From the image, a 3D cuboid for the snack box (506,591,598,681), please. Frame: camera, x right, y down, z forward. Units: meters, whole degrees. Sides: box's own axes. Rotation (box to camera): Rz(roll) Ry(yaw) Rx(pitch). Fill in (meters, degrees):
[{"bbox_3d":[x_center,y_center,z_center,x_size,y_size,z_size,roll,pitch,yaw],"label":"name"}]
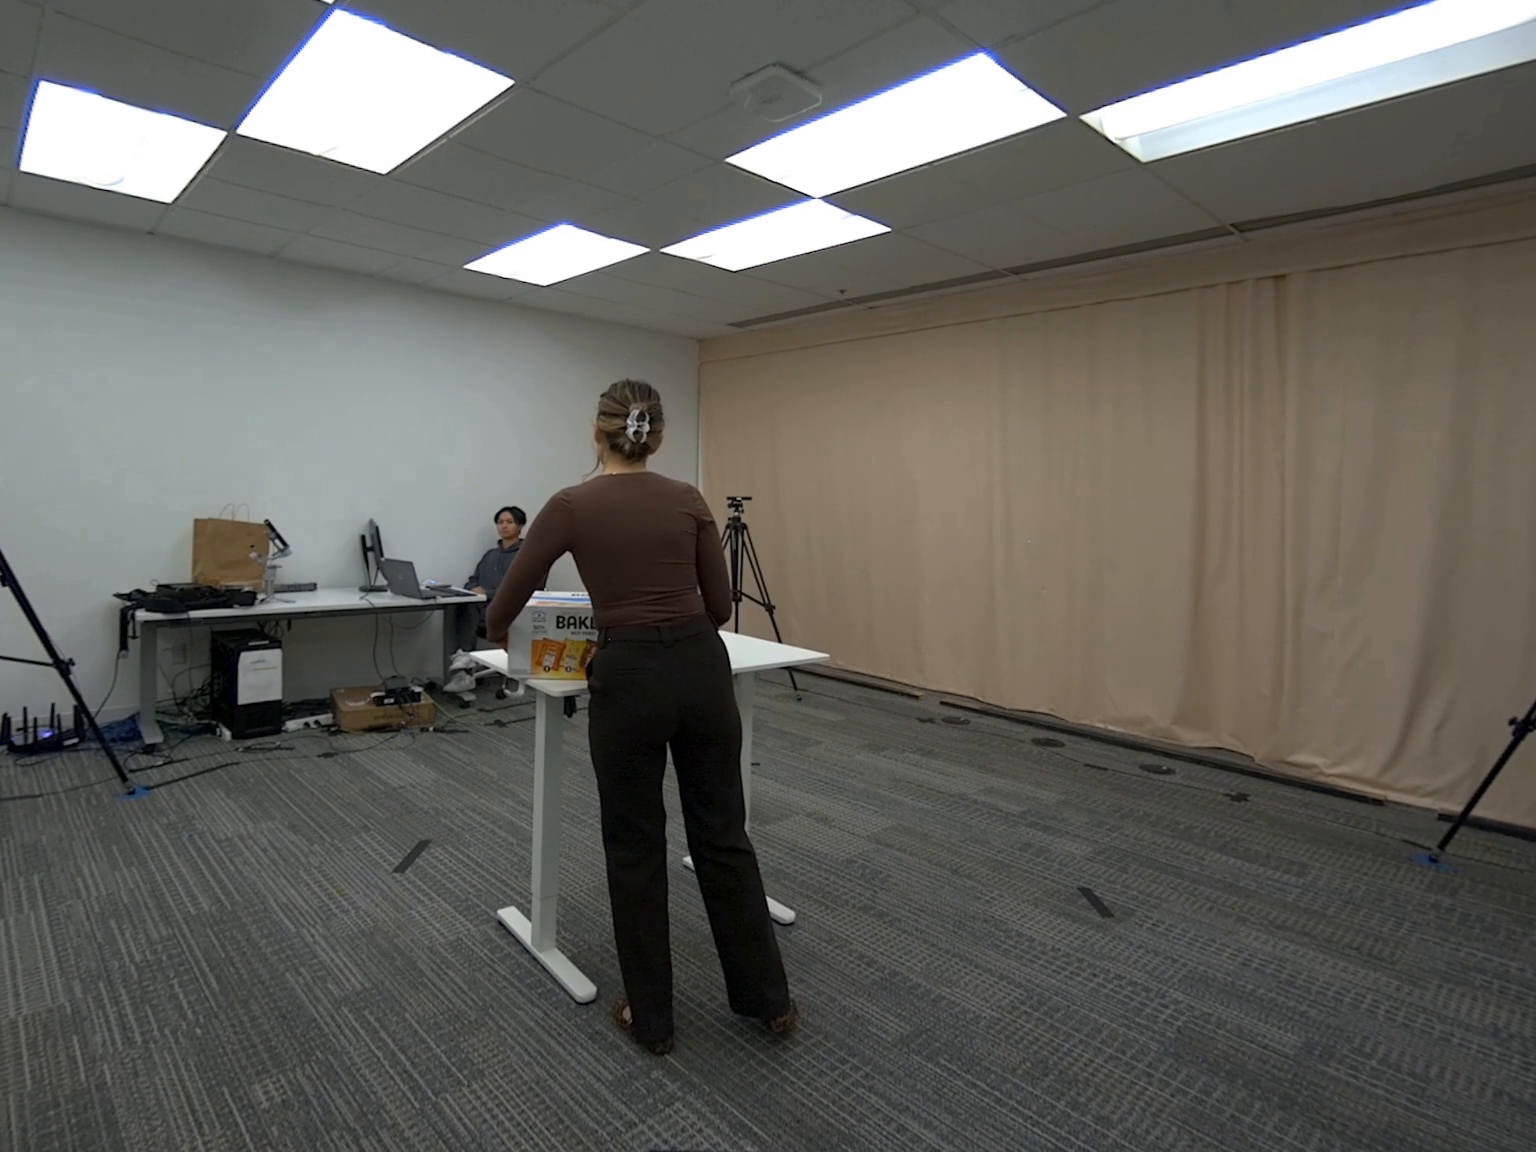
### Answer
[{"bbox_3d":[-0.526,0.172,2.457,0.404,0.205,0.342,2,5,-3],"label":"snack box"}]
